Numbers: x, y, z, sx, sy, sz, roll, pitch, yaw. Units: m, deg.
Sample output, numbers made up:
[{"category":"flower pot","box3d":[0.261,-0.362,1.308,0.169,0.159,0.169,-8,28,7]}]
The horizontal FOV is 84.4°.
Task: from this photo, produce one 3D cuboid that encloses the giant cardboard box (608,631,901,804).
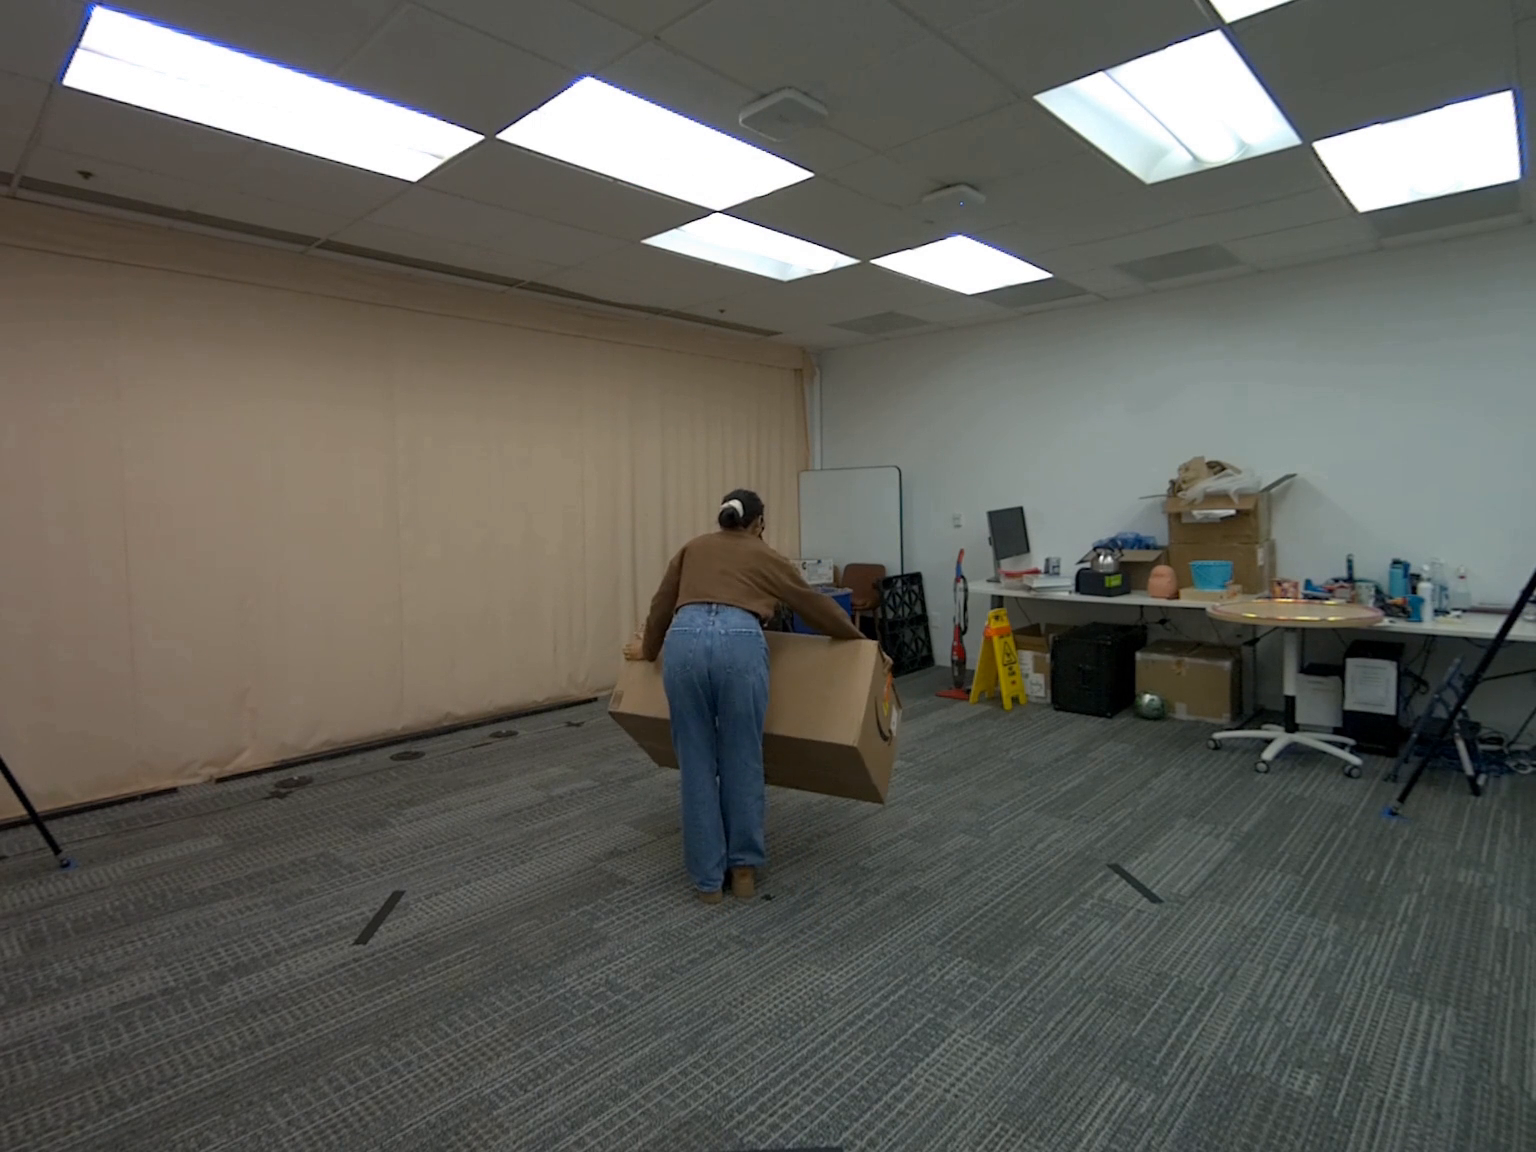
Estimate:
[{"category":"giant cardboard box","box3d":[-0.035,0.537,3.451,1.052,0.429,0.559,4,-33,24]}]
